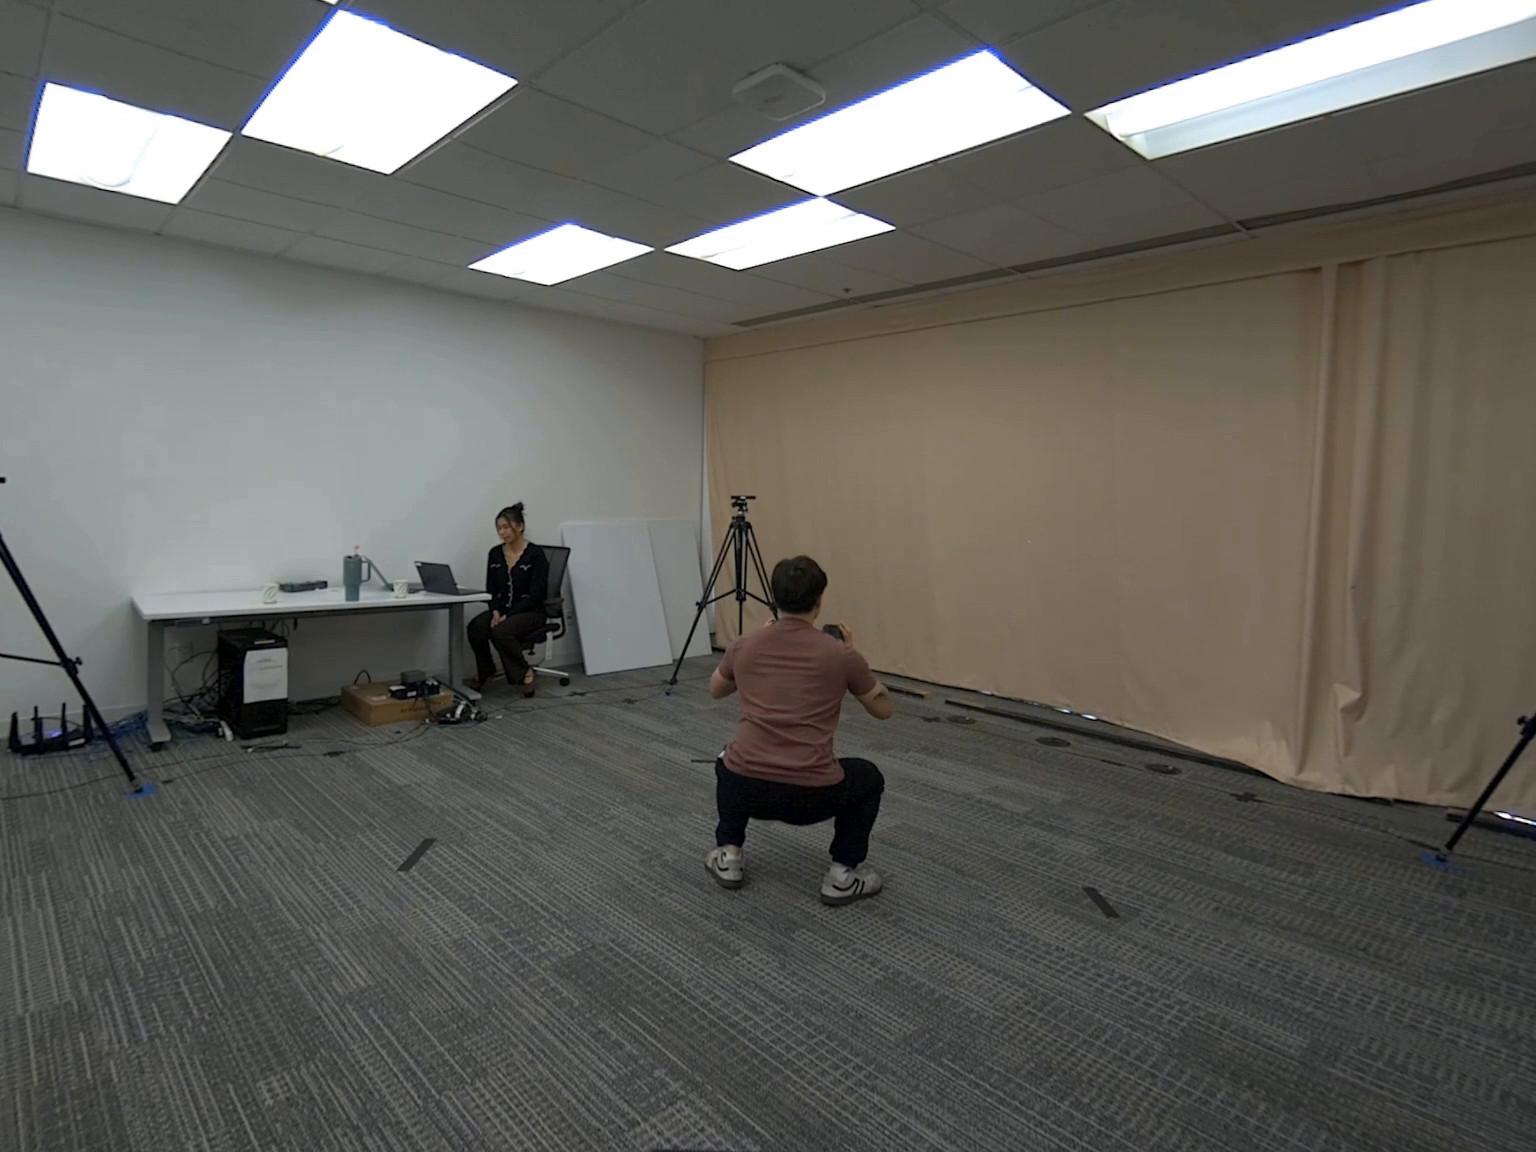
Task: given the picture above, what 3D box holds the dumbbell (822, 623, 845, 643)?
[{"bbox_3d":[0.165,0.236,3.214,0.297,0.109,0.121,-3,-6,16],"label":"dumbbell"}]
